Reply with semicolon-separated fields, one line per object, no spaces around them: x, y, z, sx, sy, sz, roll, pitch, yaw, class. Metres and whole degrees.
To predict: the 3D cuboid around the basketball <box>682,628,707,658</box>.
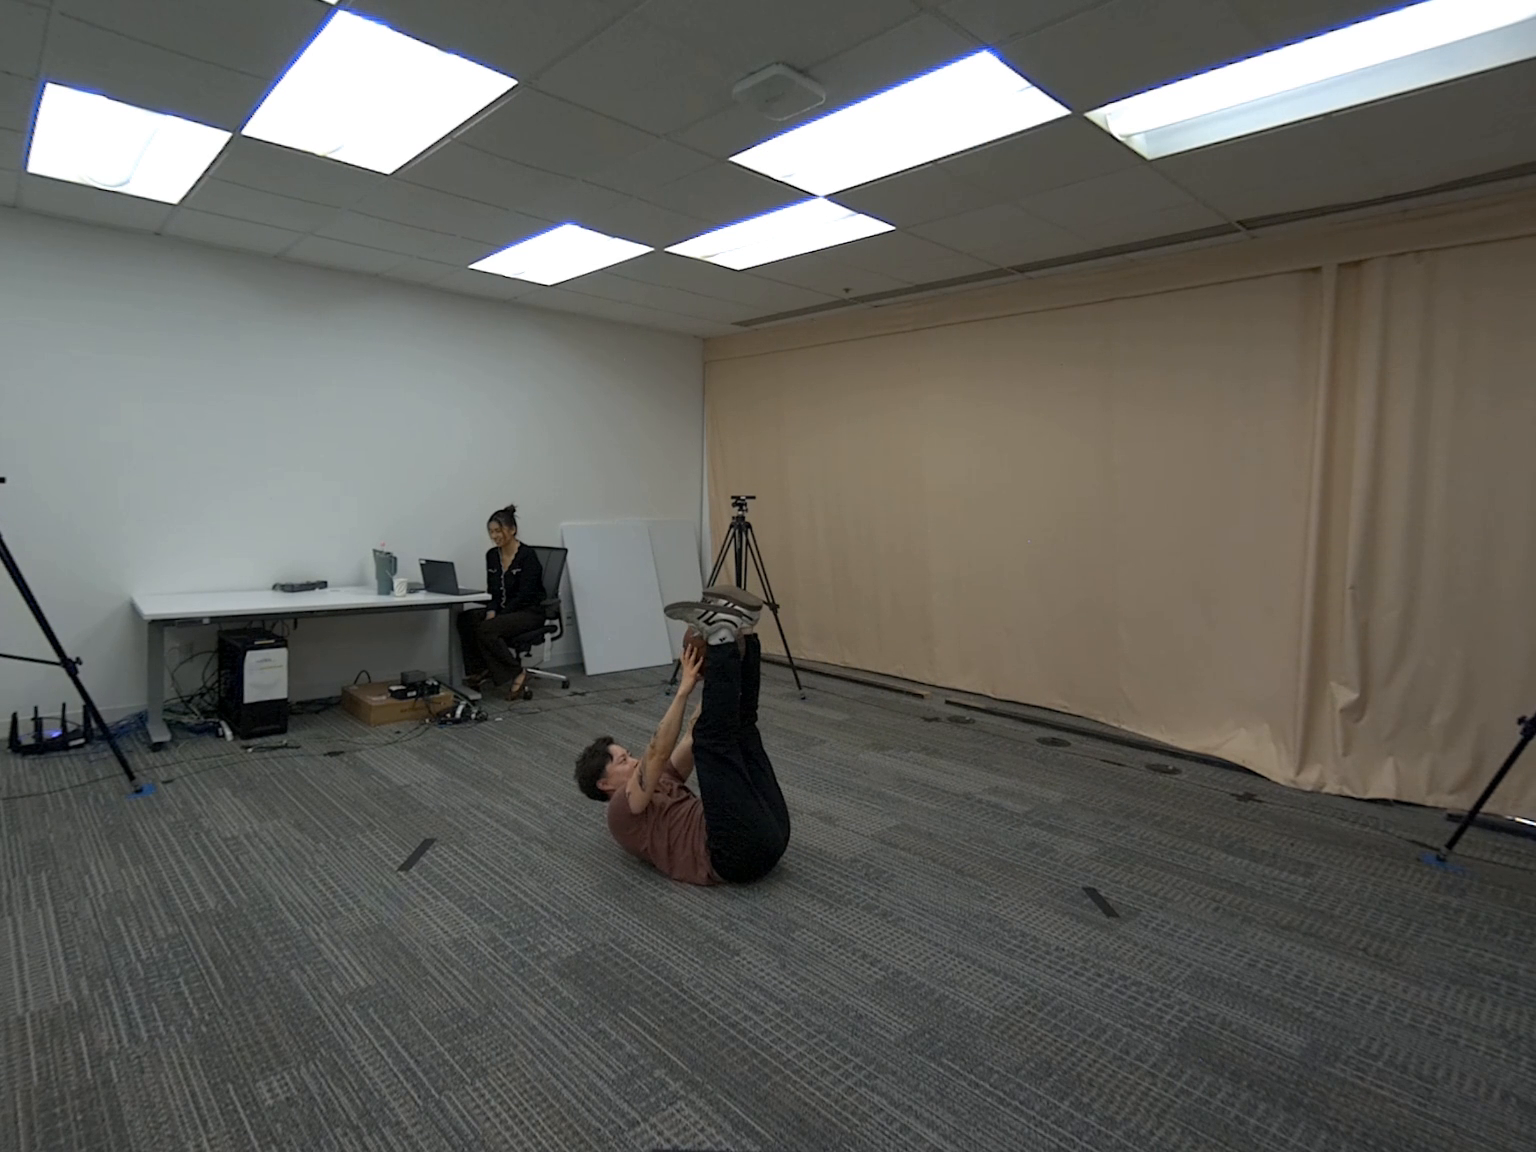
-0.200;0.268;3.148;0.236;0.234;0.237;0;8;-1;basketball
